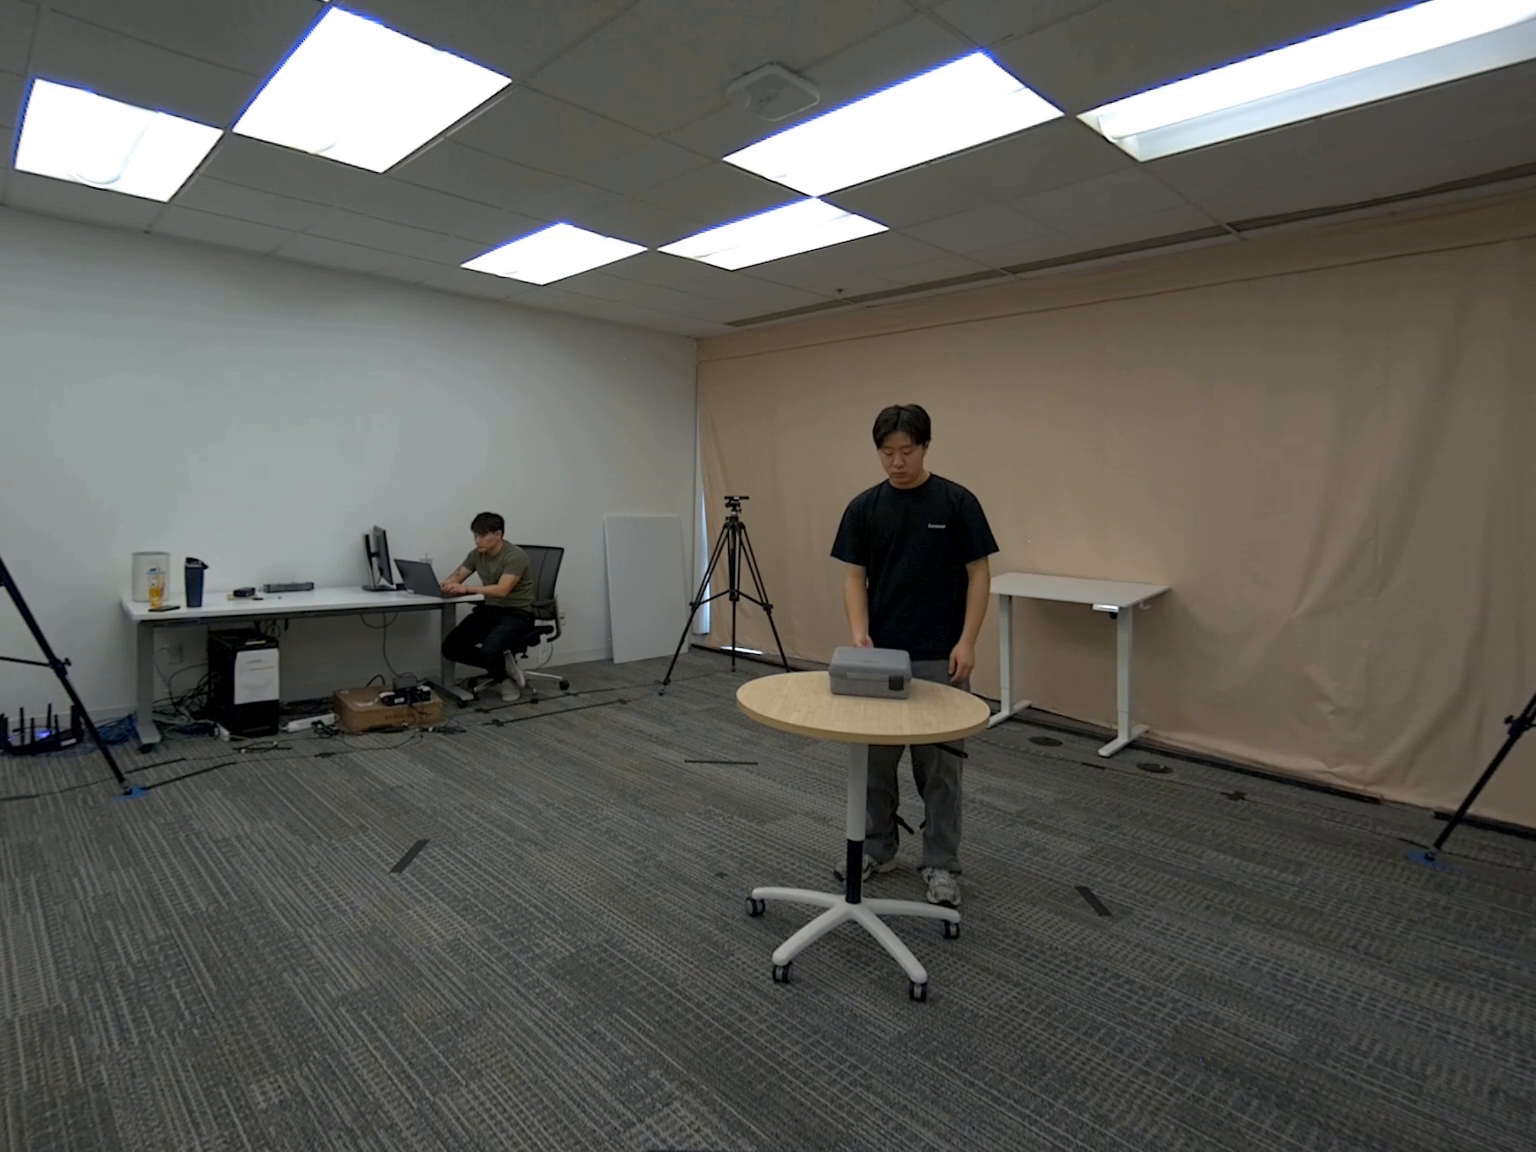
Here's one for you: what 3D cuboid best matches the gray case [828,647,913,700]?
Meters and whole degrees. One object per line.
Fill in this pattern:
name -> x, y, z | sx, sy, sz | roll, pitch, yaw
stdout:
gray case -> 0.319, 0.302, 2.728 | 0.265, 0.102, 0.287 | 1, 9, 7
